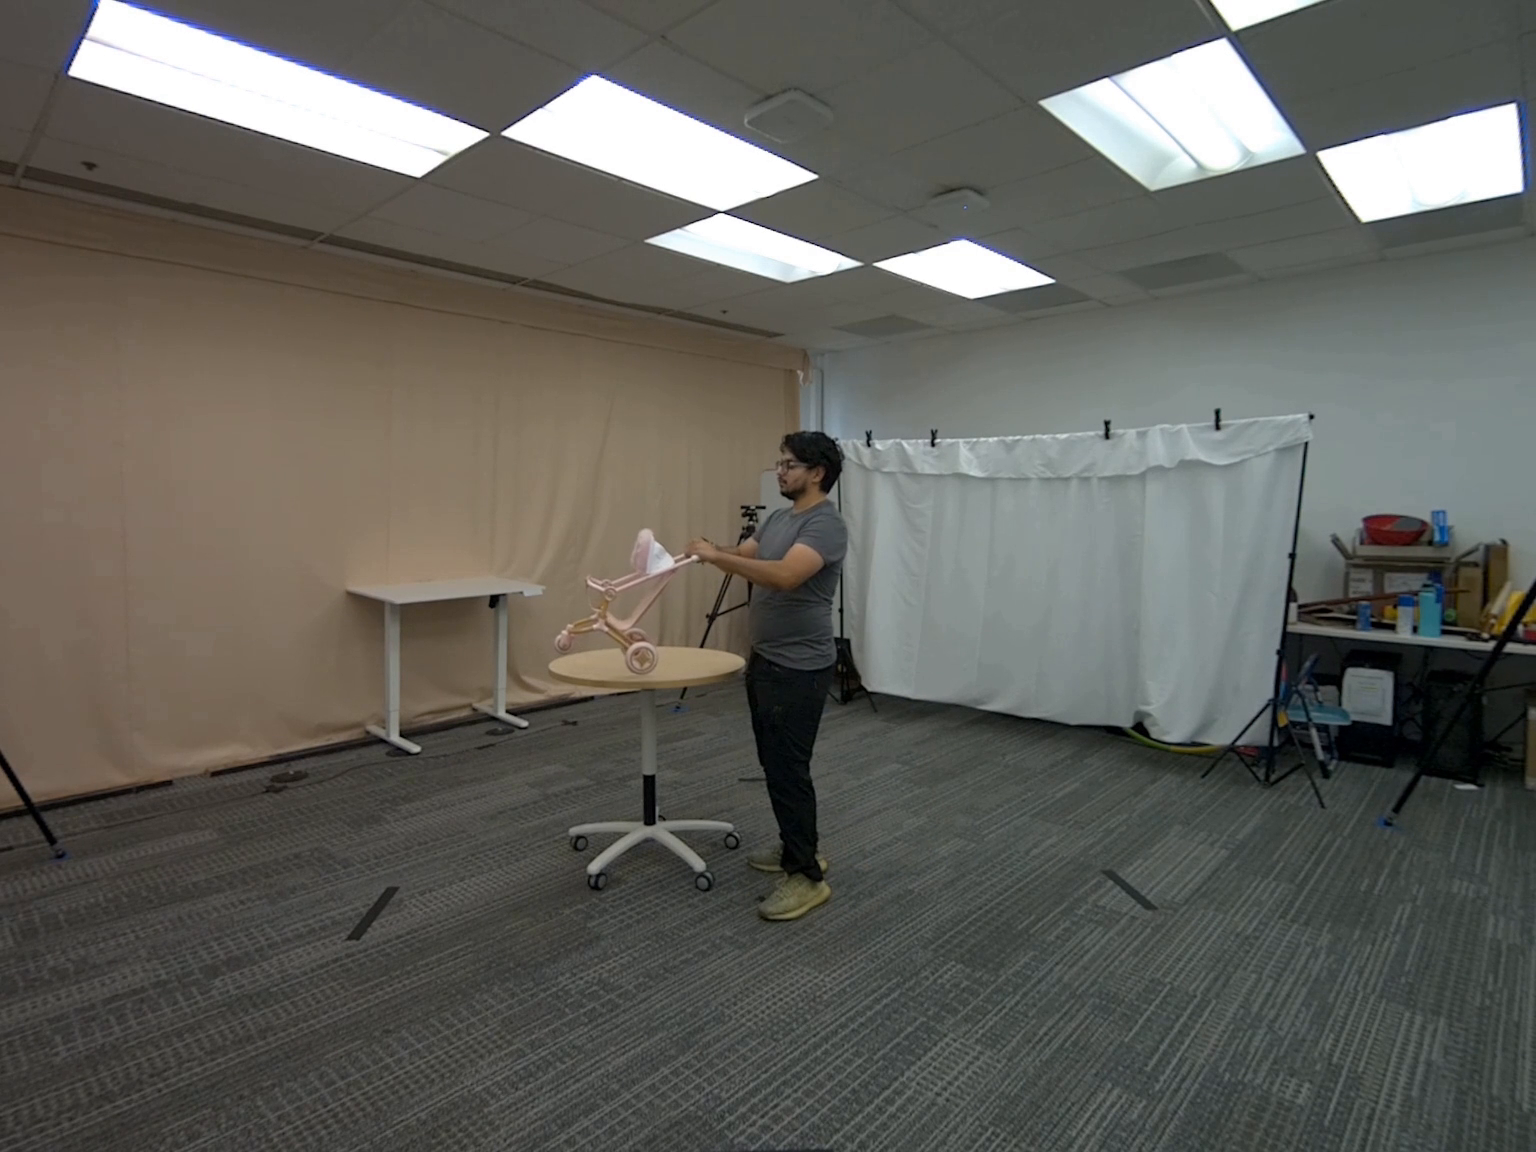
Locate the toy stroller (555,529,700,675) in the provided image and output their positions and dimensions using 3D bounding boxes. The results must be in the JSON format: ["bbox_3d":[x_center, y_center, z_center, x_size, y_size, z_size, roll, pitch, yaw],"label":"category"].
[{"bbox_3d":[-0.475,0.079,2.883,0.338,0.535,0.285,26,-1,-10],"label":"toy stroller"}]
